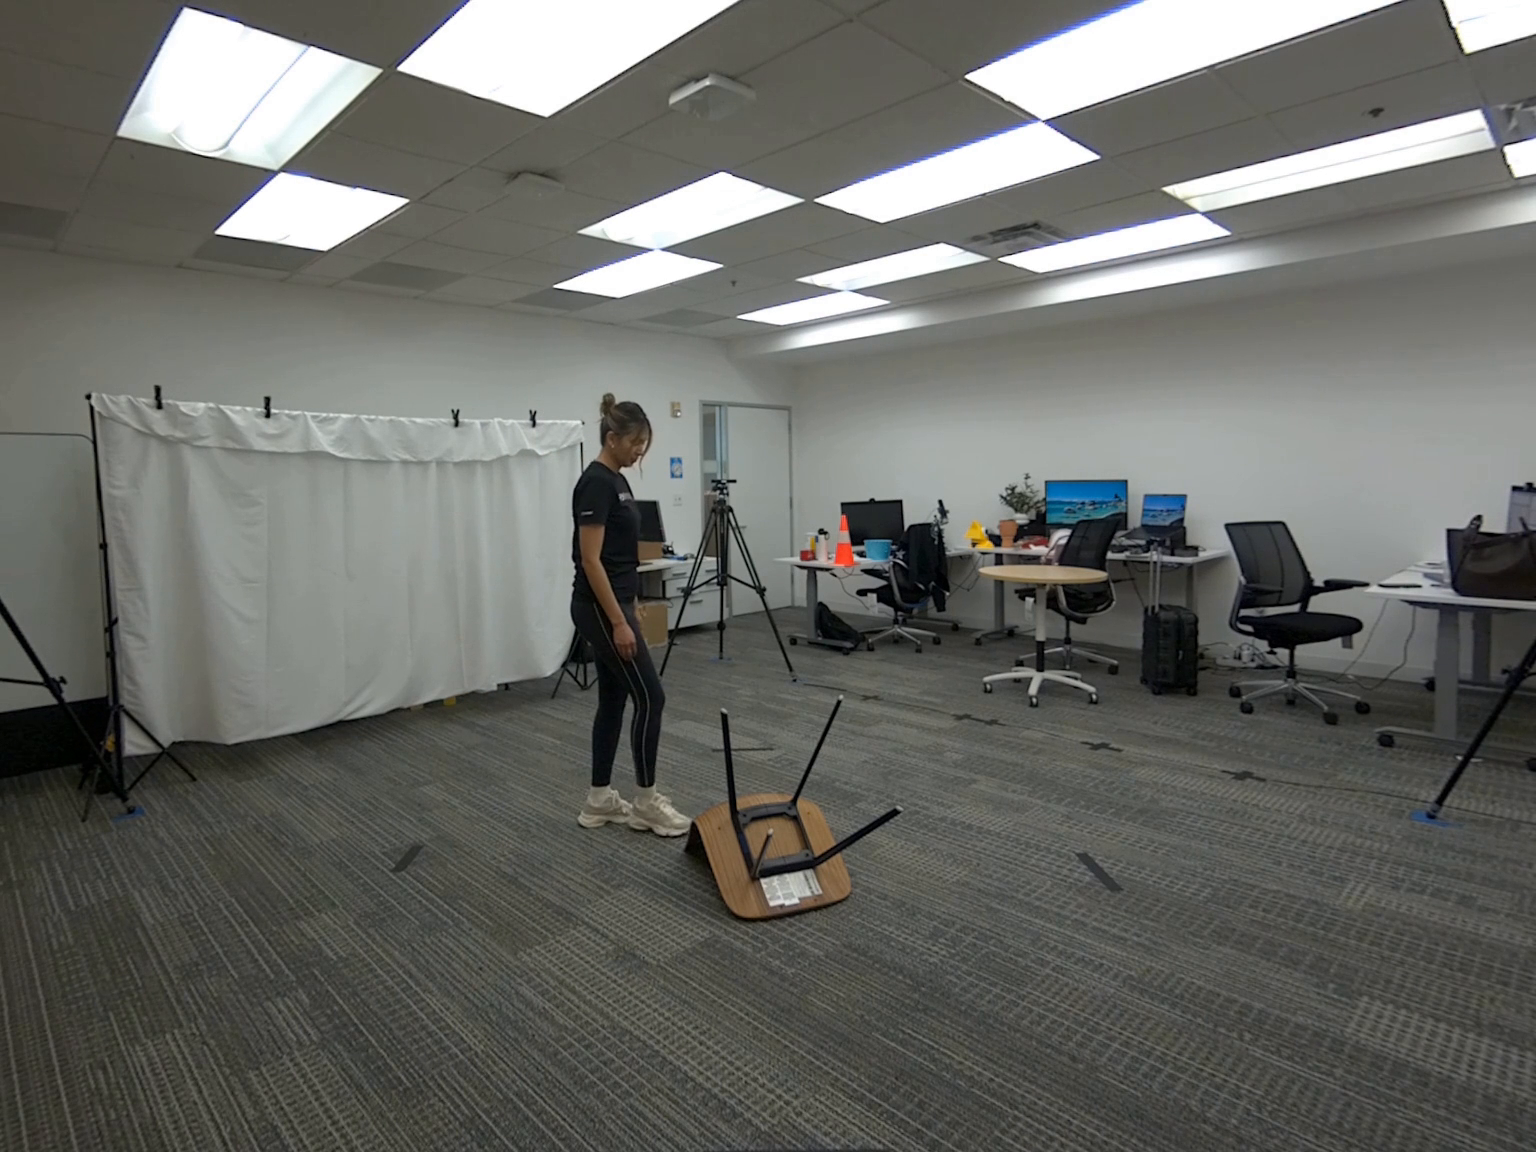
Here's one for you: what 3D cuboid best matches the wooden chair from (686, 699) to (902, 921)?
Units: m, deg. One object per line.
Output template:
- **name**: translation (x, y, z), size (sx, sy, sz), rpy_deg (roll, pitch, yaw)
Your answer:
- **wooden chair**: translation (0.025, 0.896, 2.913), size (0.468, 0.864, 0.542), rpy_deg (-2, 46, -25)
